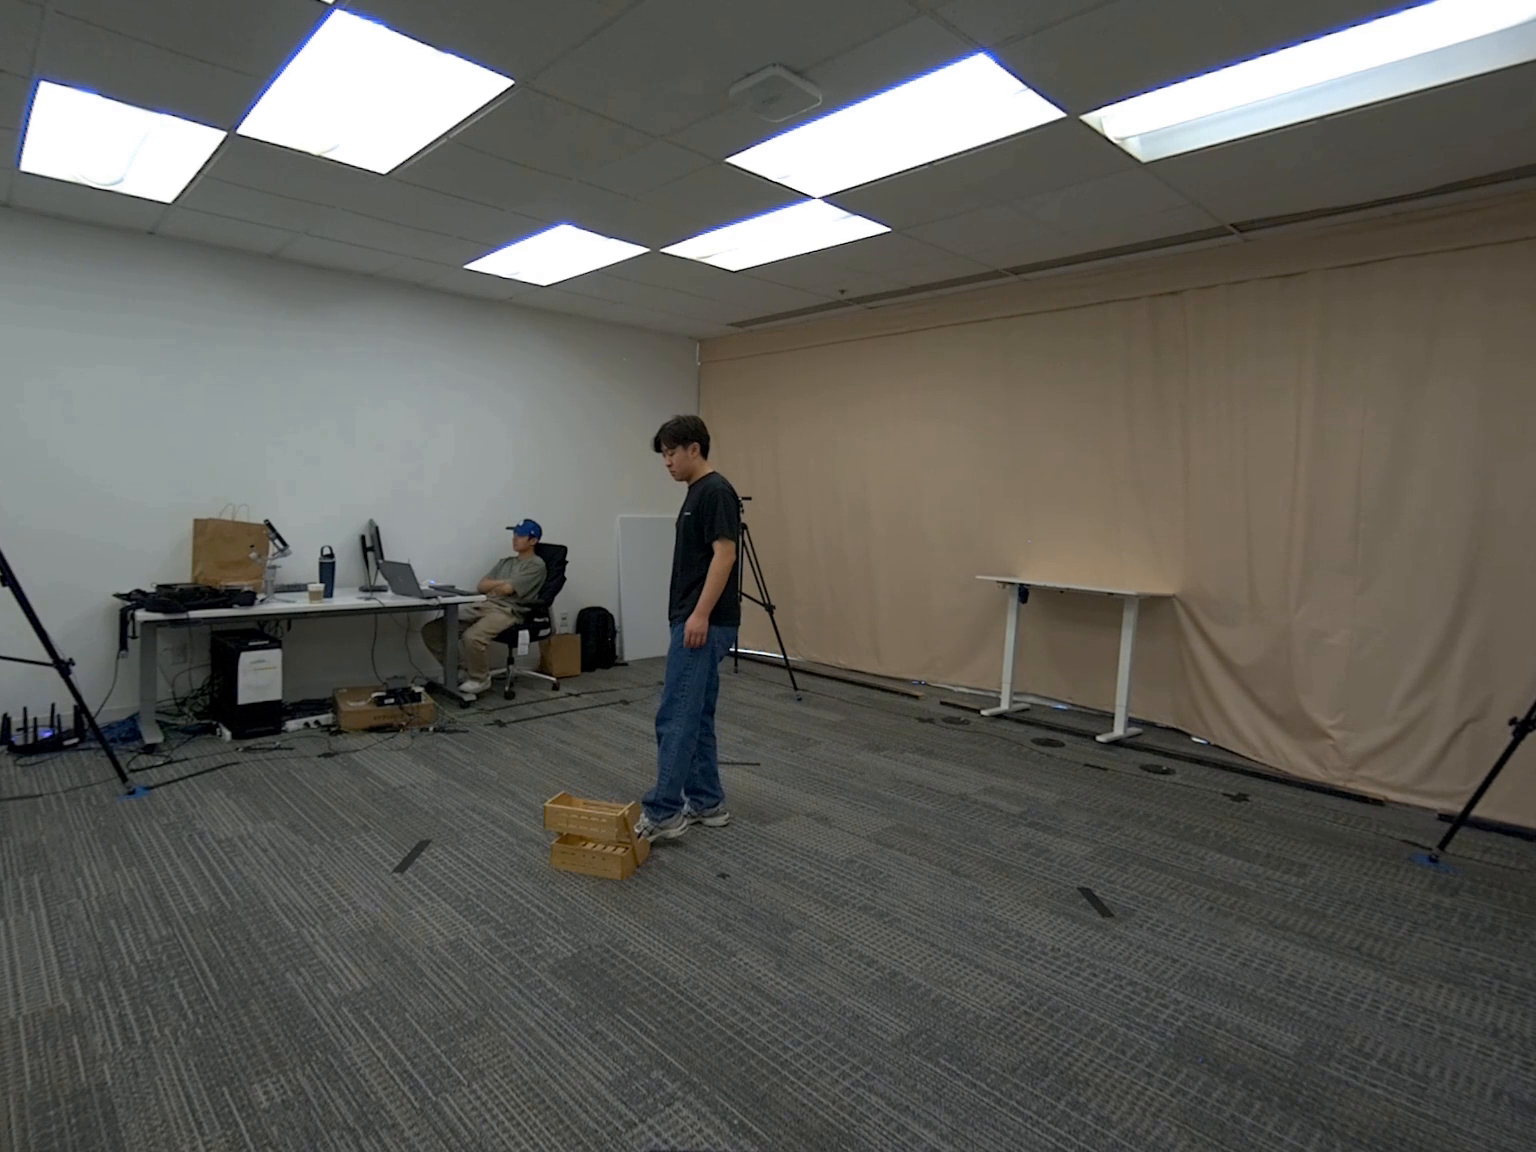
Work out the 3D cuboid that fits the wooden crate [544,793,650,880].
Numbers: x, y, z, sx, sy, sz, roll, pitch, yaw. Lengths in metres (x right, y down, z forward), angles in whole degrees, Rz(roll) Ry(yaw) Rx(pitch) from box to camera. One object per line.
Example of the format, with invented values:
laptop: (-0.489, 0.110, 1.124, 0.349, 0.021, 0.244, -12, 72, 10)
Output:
wooden crate: (-0.644, 0.957, 3.174, 0.329, 0.272, 0.298, 3, 5, 17)
